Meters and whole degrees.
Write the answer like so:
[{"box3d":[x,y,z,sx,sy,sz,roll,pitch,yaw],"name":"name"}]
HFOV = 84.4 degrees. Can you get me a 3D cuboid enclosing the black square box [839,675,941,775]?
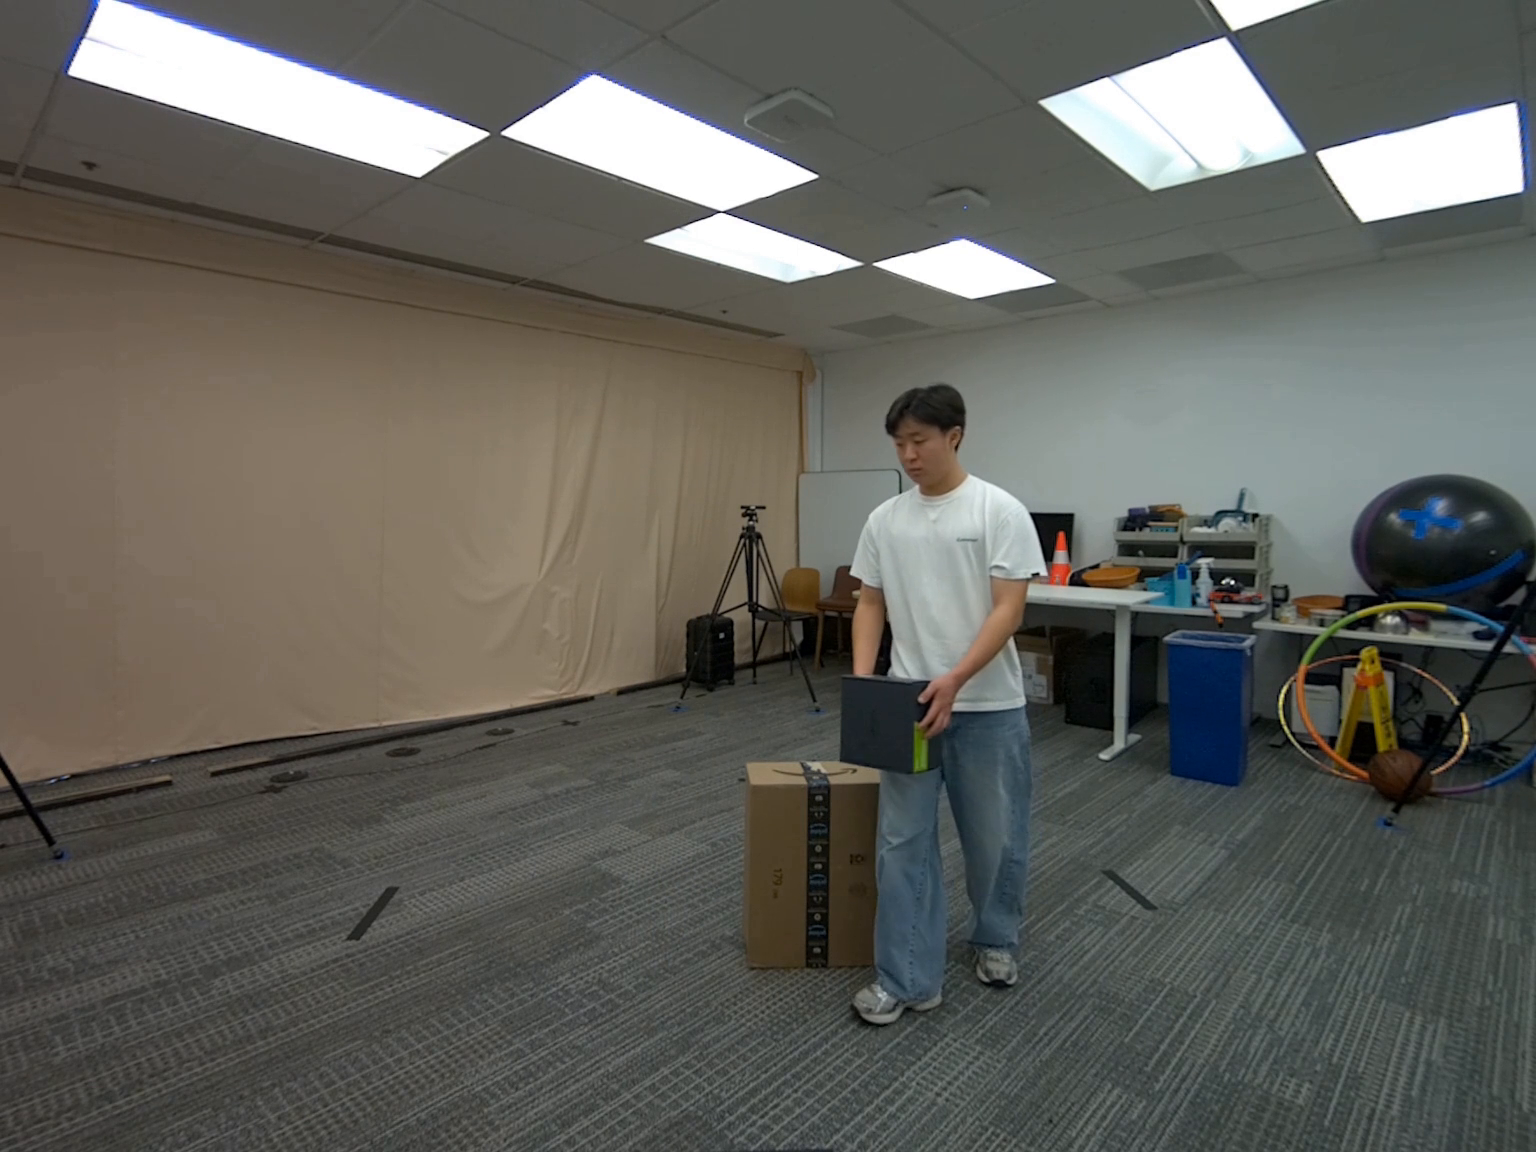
[{"box3d":[0.323,0.384,2.226,0.224,0.228,0.151,-1,-4,40],"name":"black square box"}]
